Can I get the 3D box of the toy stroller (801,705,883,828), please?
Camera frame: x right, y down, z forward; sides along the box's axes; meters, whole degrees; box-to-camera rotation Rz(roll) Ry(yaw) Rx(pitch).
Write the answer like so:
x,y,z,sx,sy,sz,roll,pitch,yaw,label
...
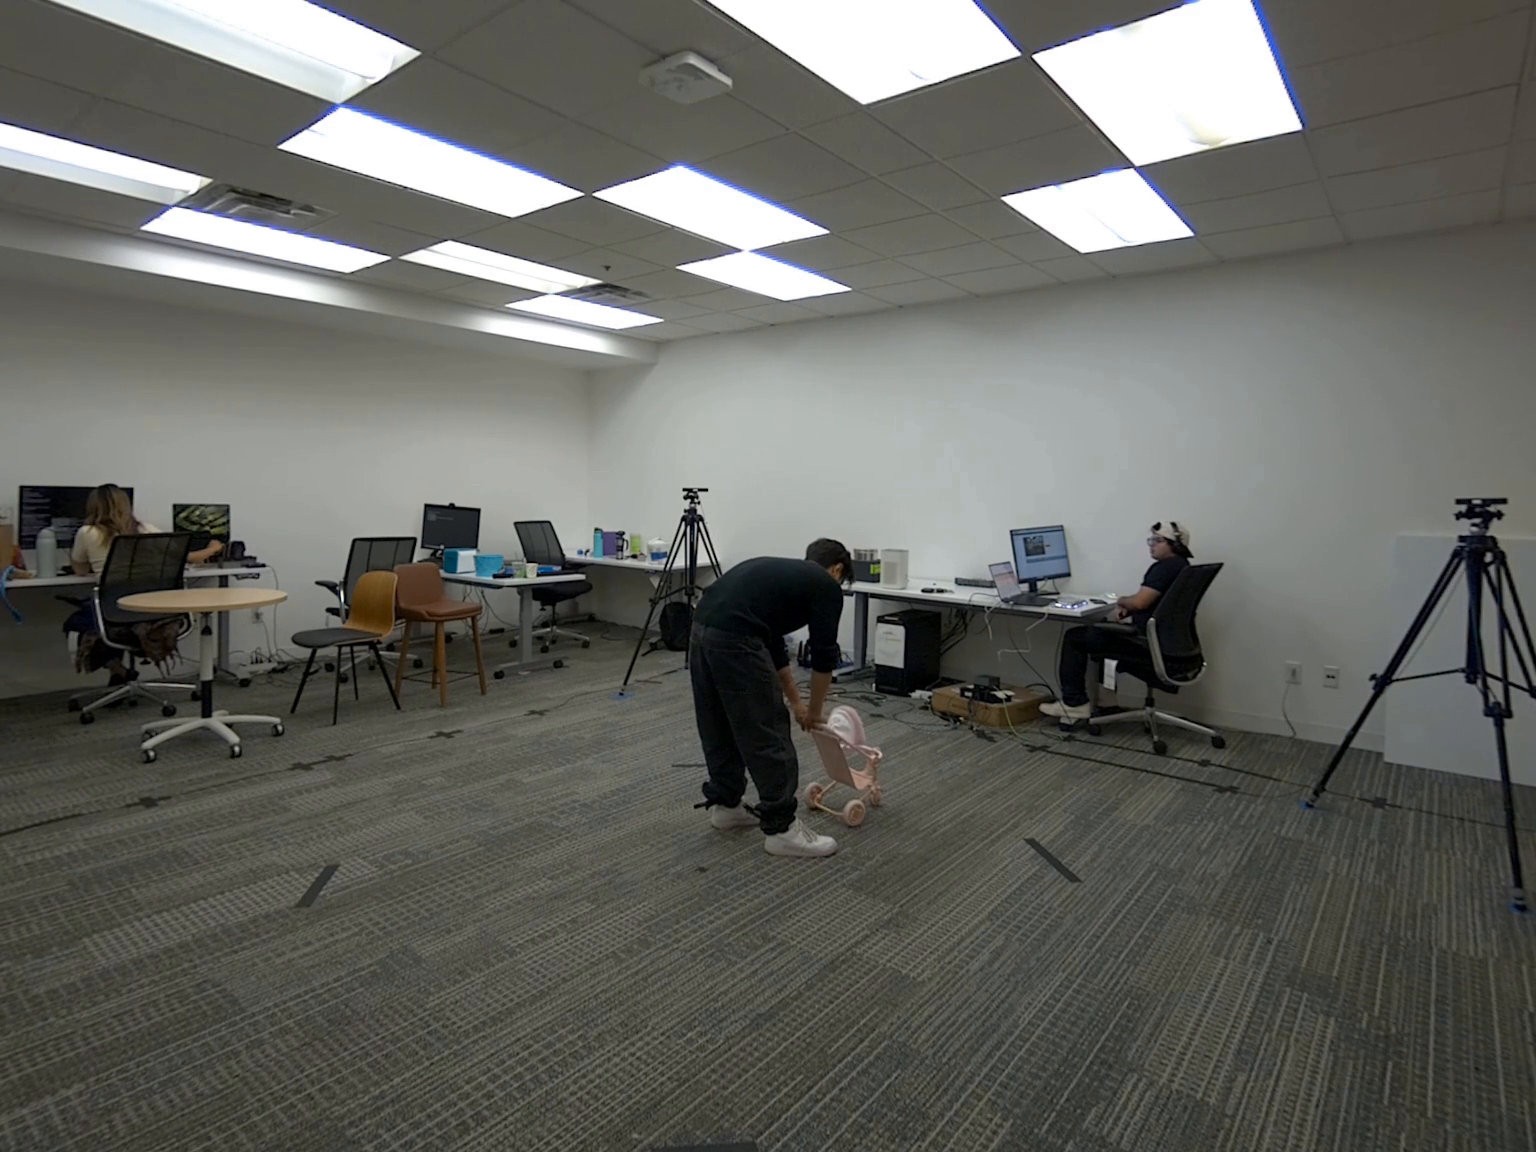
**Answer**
x,y,z,sx,sy,sz,roll,pitch,yaw,label
0.324,0.799,3.672,0.335,0.528,0.290,-18,12,-31,toy stroller
